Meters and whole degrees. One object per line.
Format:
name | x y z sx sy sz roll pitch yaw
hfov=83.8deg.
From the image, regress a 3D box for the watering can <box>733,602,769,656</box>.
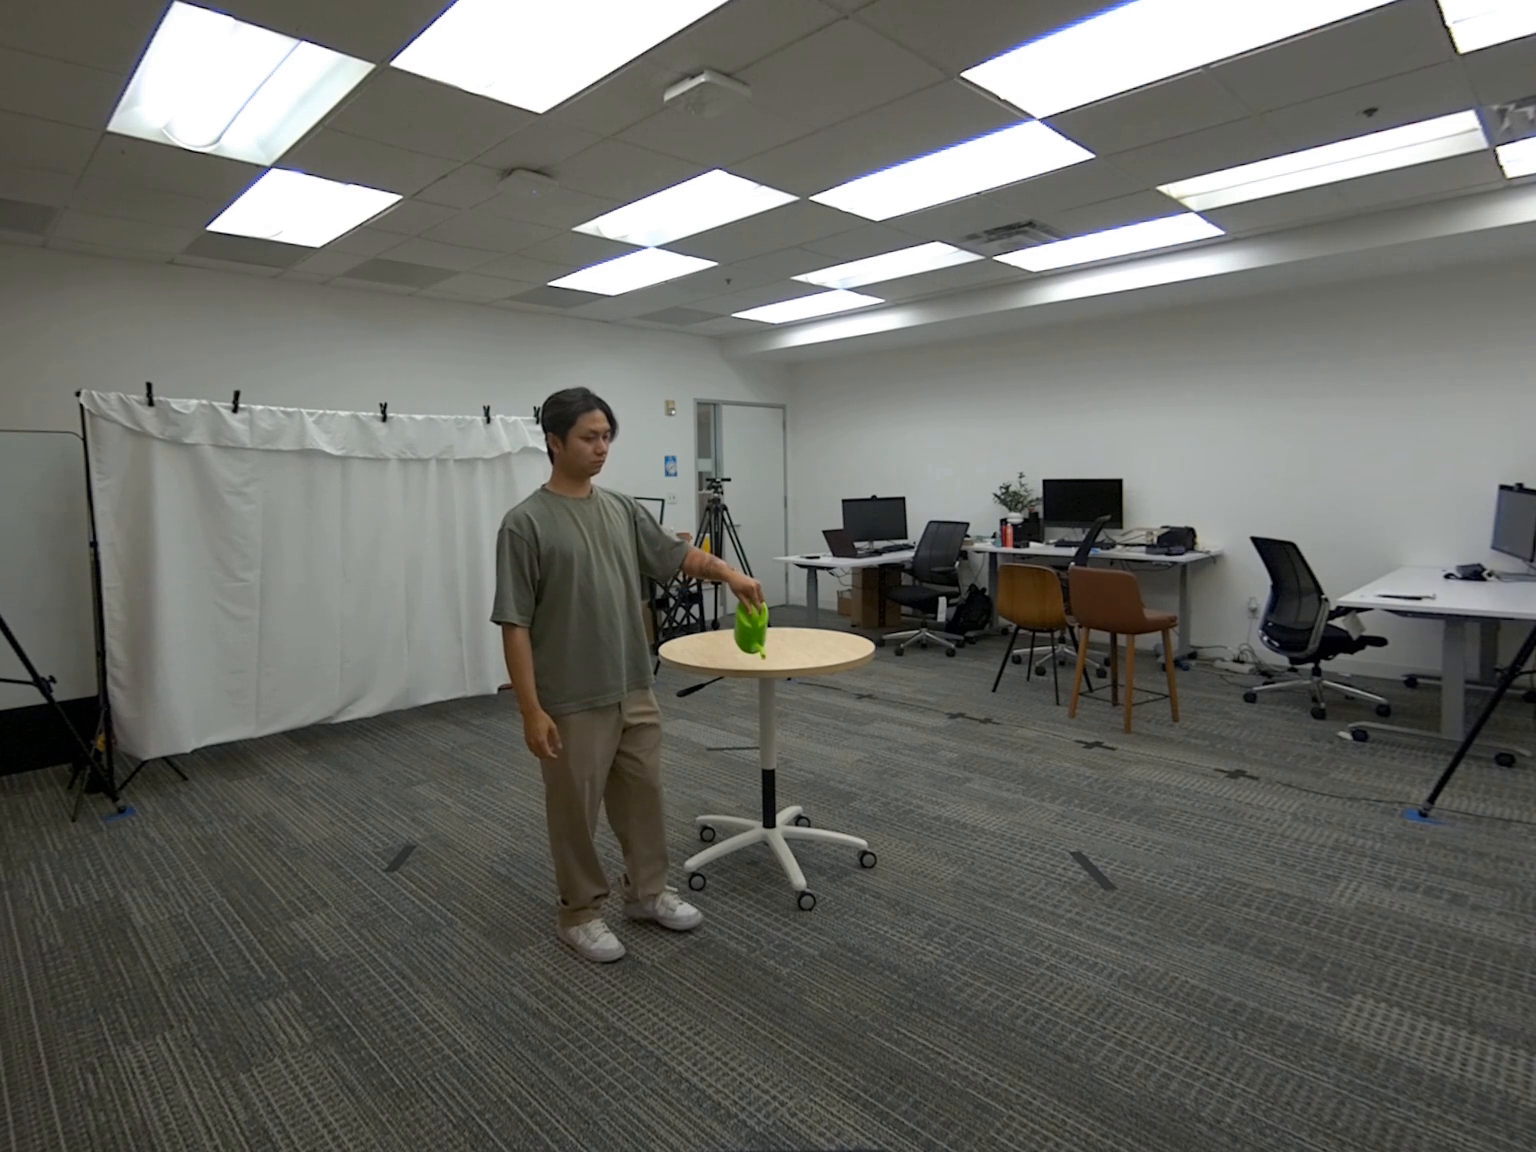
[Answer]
watering can | -0.051 0.162 2.496 0.098 0.285 0.172 5 -41 1
